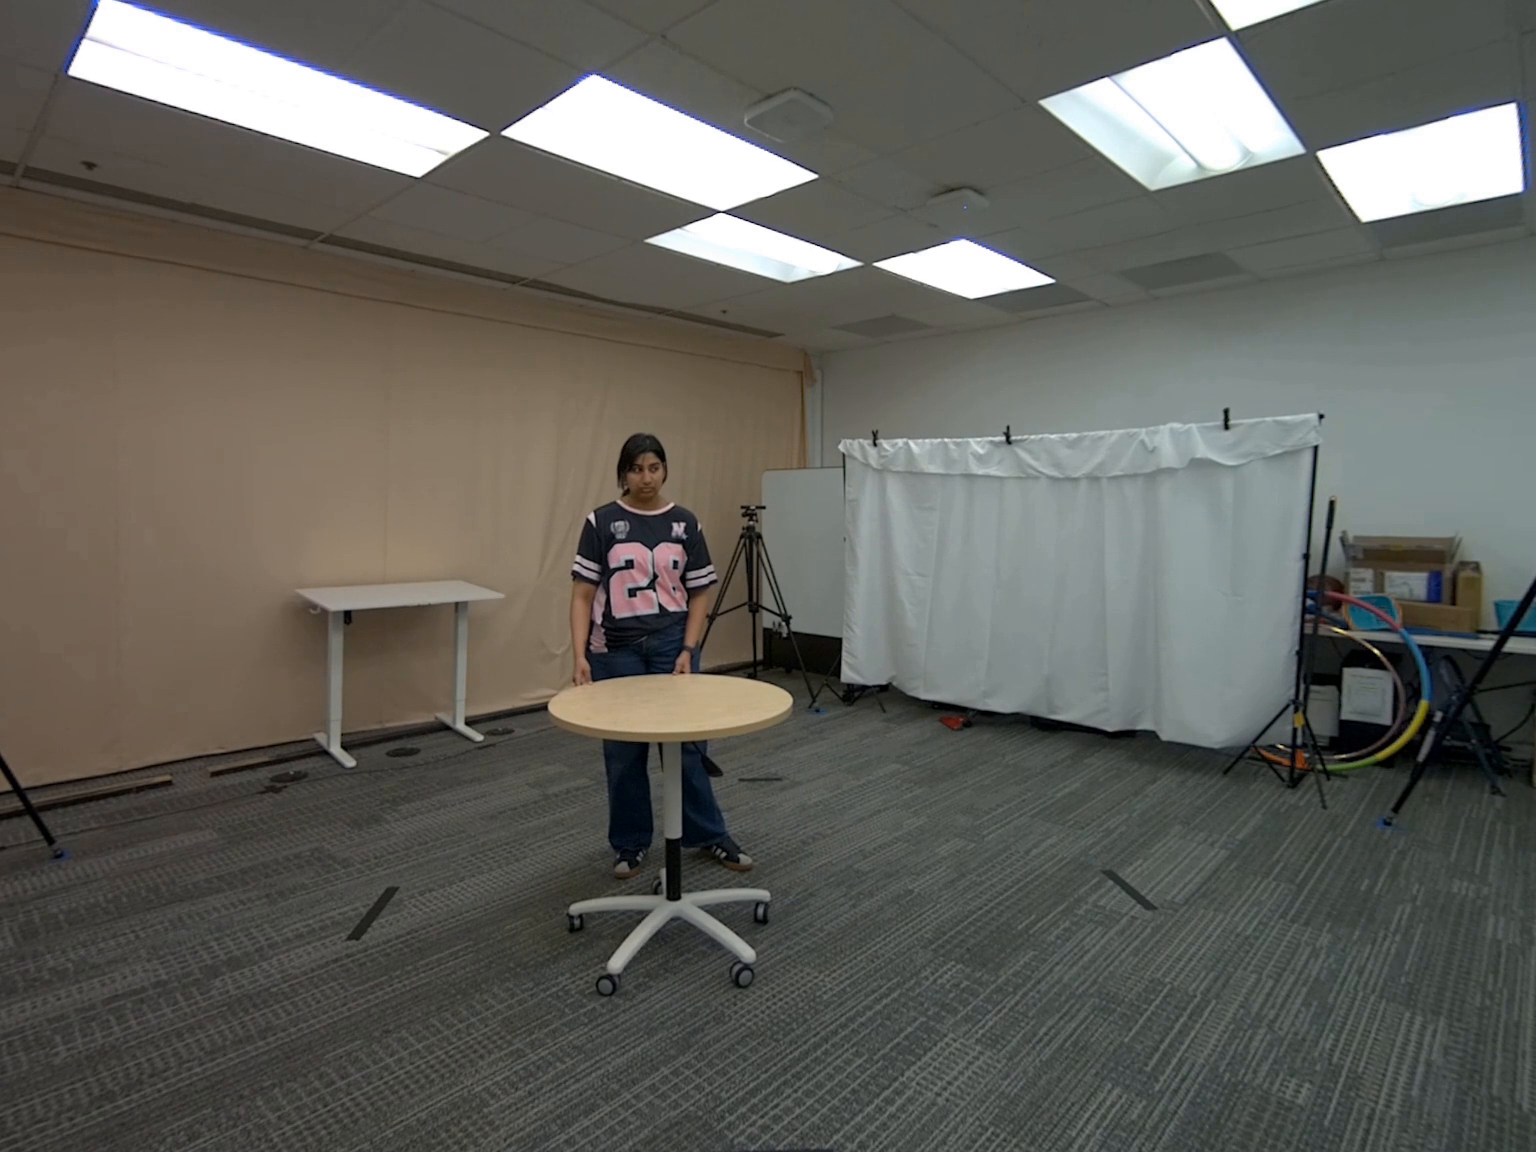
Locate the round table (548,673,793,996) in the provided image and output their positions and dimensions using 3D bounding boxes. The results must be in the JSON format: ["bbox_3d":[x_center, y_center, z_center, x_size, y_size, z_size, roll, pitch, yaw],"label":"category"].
[{"bbox_3d":[-0.299,0.784,2.676,0.763,0.792,0.767,-1,4,-2],"label":"round table"}]
